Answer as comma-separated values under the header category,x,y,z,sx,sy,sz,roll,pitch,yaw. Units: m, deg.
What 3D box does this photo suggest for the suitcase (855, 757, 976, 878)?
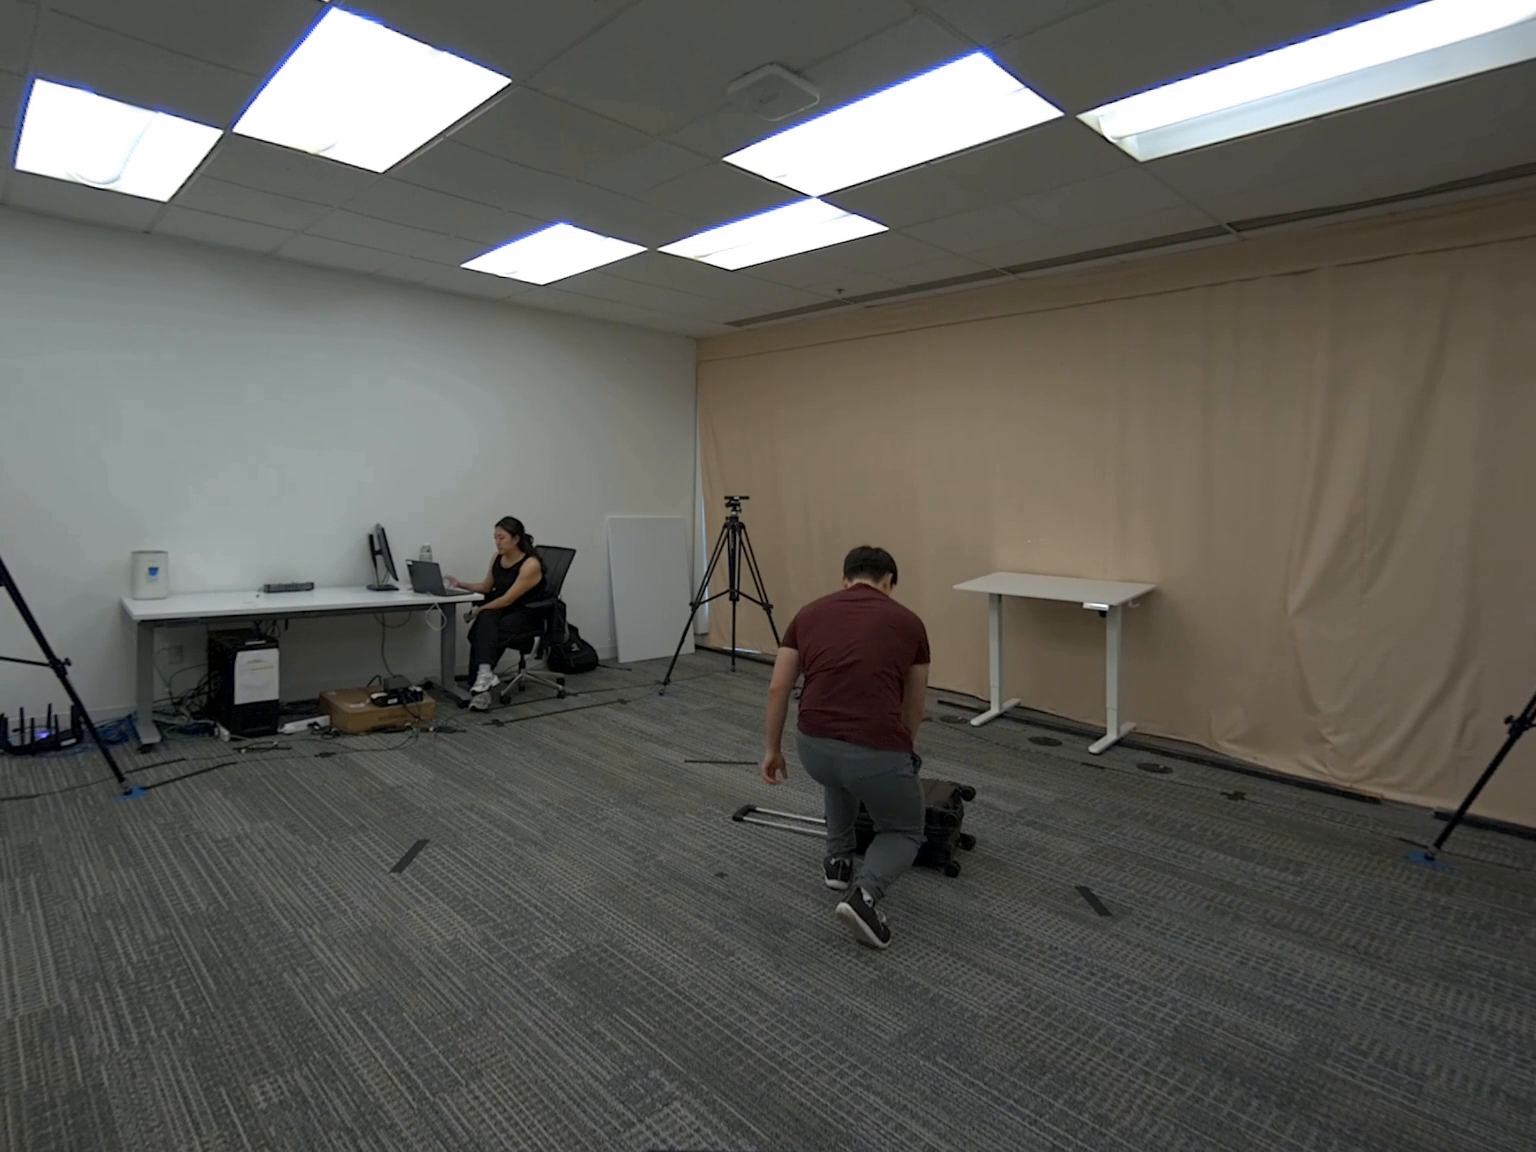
category,x,y,z,sx,sy,sz,roll,pitch,yaw
suitcase,0.328,0.958,3.483,0.998,0.256,0.378,4,7,26
